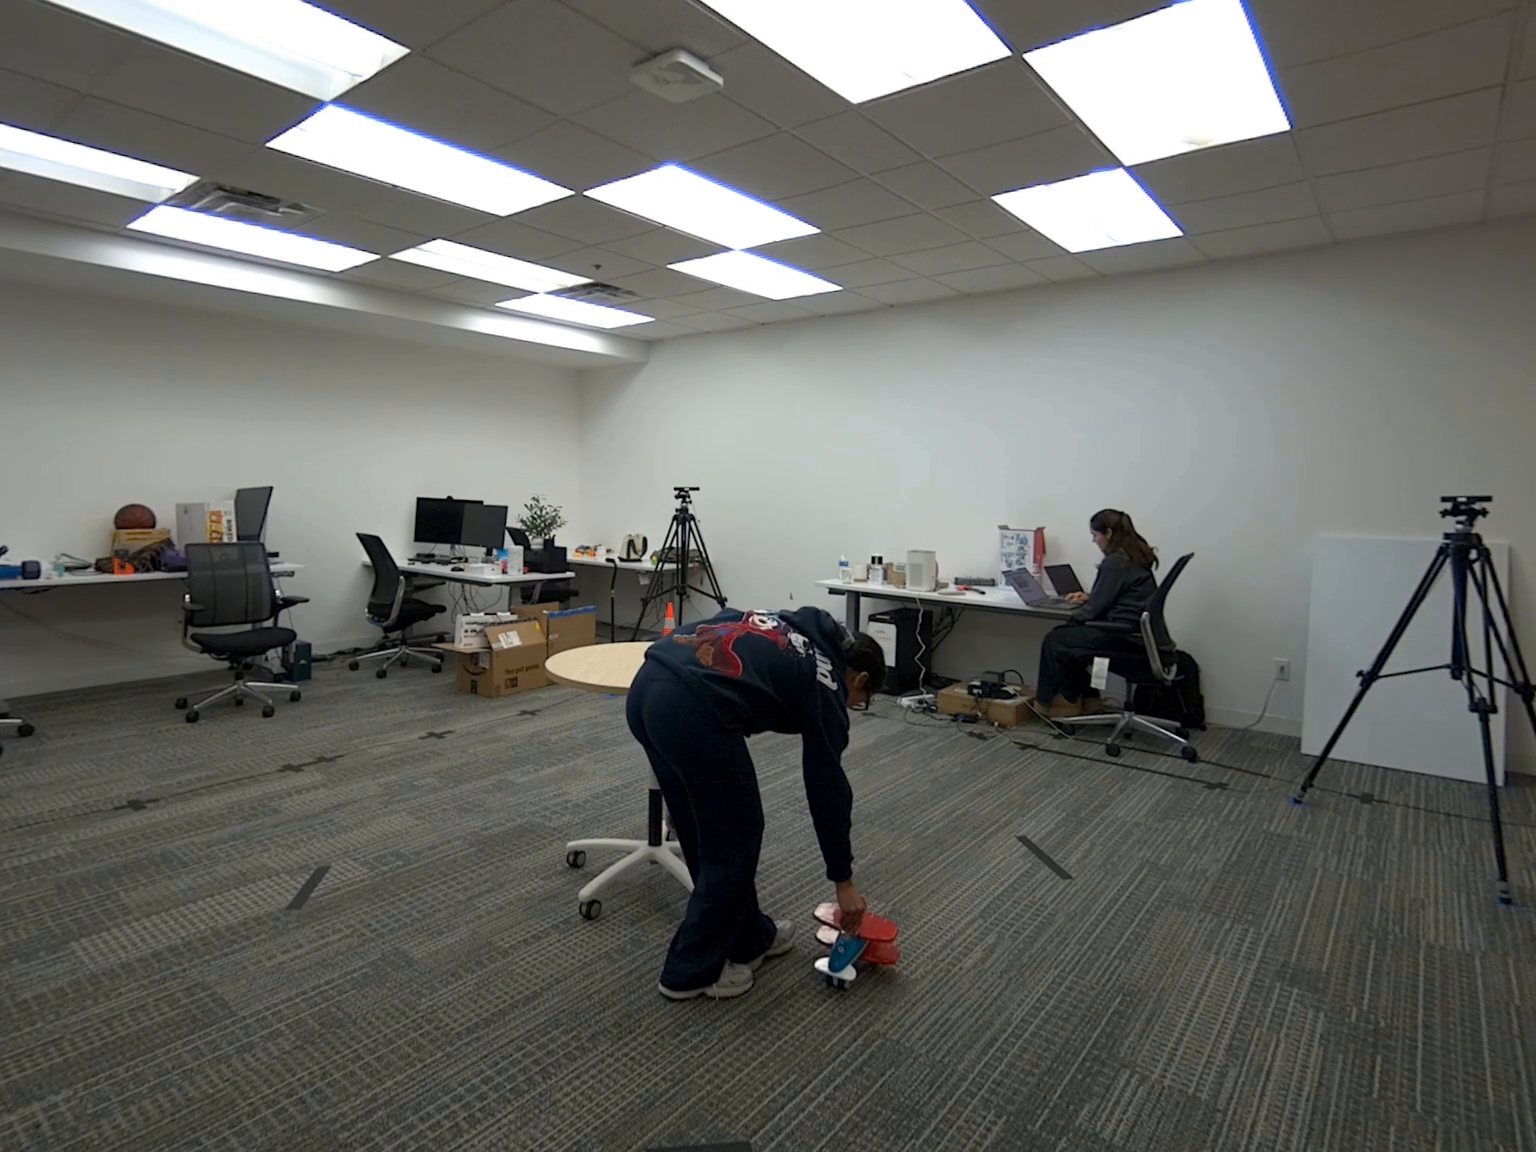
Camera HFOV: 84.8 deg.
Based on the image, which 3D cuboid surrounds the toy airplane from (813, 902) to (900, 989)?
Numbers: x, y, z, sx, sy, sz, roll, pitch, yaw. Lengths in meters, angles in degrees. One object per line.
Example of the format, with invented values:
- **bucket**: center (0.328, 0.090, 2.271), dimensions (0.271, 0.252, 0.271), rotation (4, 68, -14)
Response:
- **toy airplane**: center (0.247, 1.070, 2.443), dimensions (0.252, 0.156, 0.259), rotation (1, 4, 2)
